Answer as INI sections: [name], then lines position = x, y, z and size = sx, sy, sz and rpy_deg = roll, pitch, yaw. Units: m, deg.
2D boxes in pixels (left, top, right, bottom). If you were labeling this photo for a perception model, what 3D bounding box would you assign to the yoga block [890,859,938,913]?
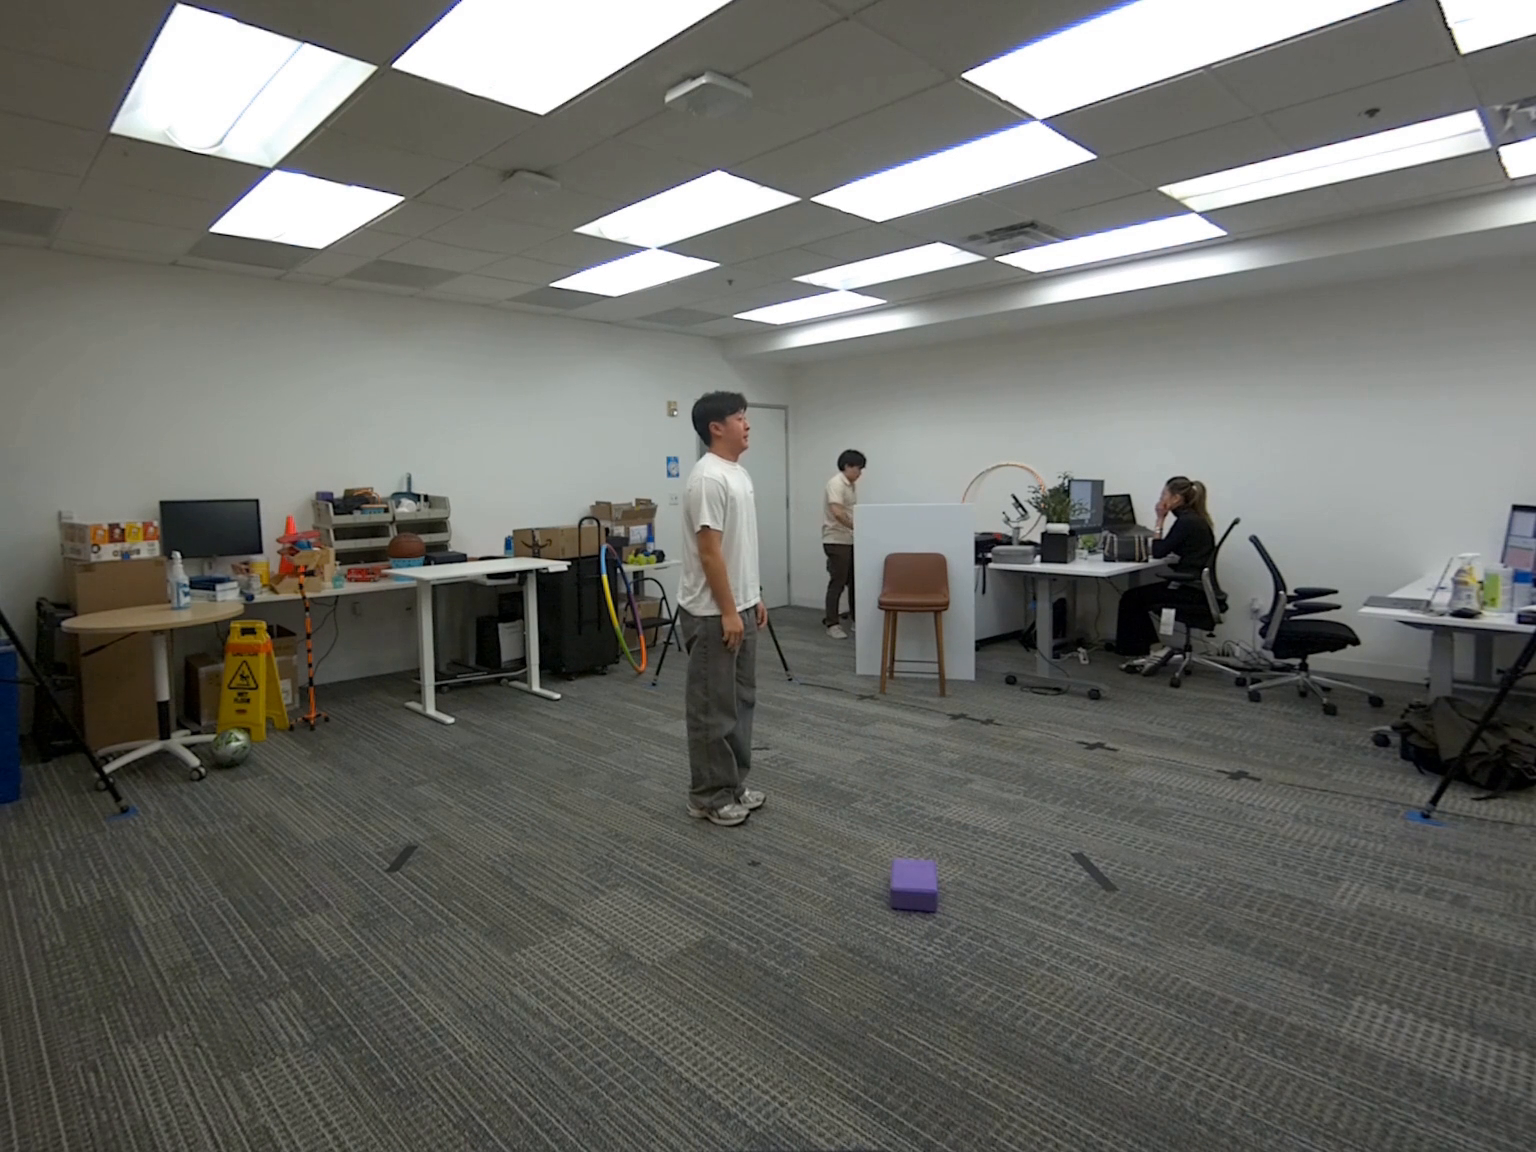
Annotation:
[yoga block]
position = 0.490, 1.027, 2.852
size = 0.151, 0.076, 0.227
rpy_deg = -1, 6, 12
